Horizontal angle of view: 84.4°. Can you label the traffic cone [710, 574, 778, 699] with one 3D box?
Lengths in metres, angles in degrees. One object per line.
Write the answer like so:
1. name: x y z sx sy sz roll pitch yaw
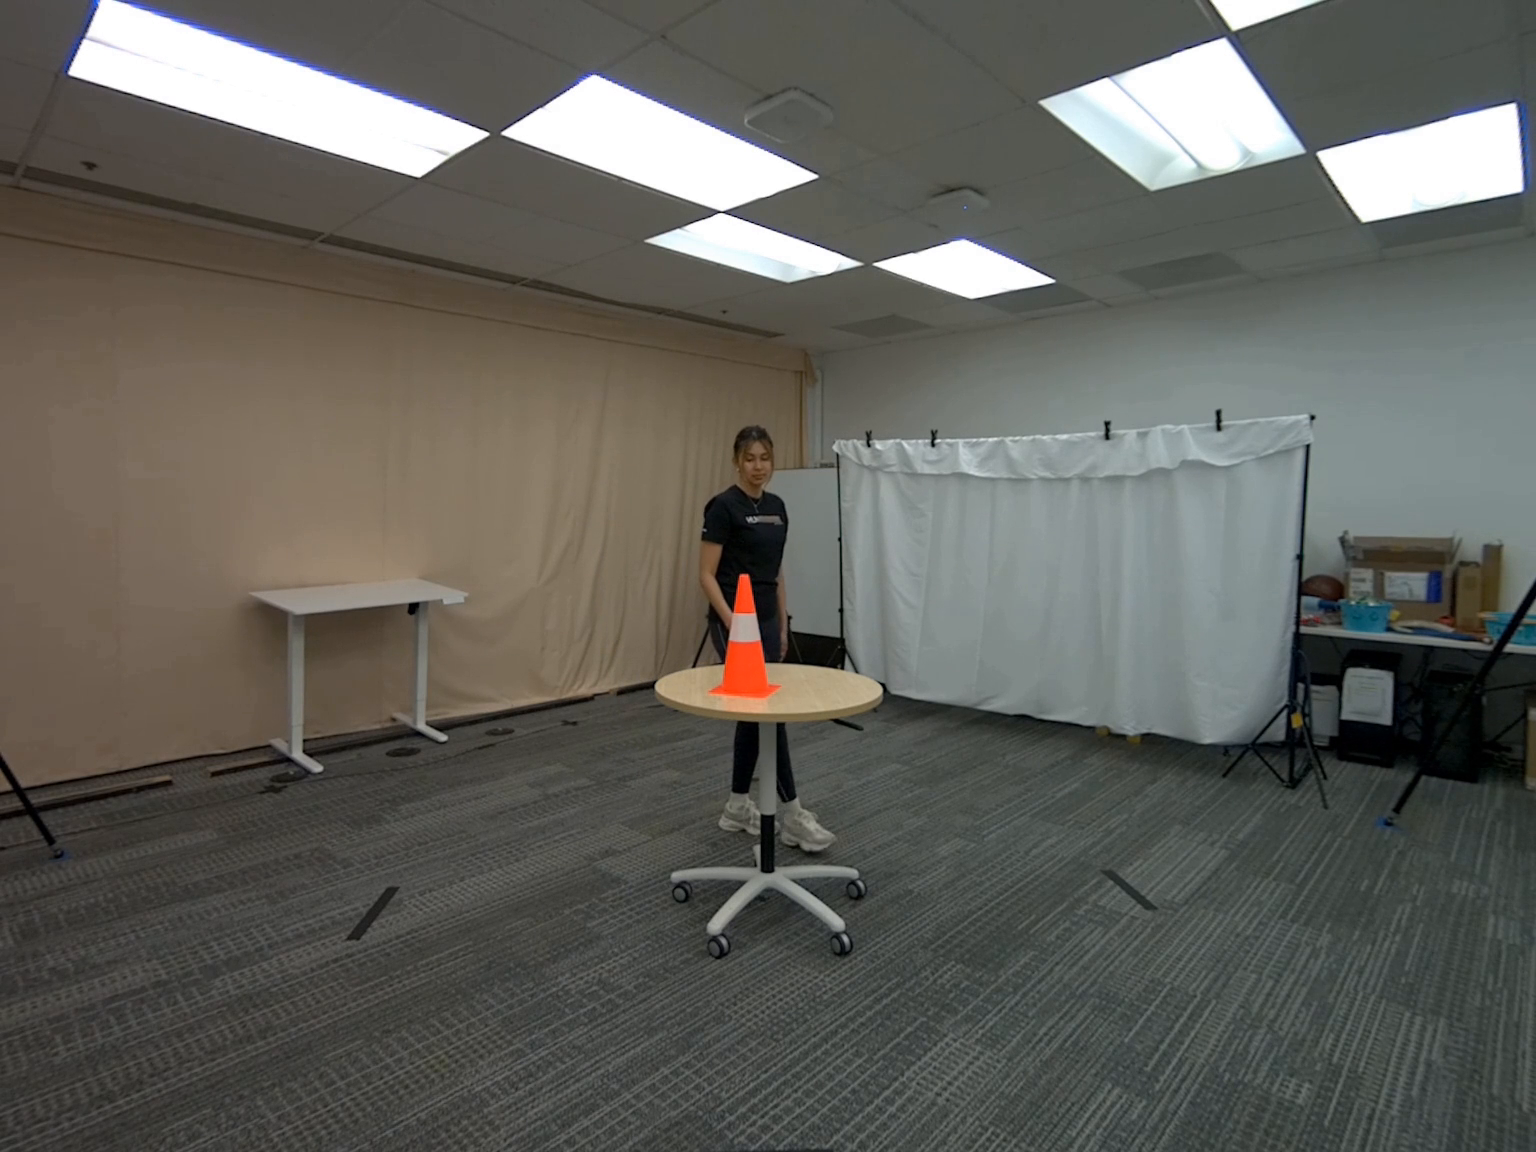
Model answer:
1. traffic cone: -0.069 0.188 2.782 0.209 0.383 0.200 3 4 25
